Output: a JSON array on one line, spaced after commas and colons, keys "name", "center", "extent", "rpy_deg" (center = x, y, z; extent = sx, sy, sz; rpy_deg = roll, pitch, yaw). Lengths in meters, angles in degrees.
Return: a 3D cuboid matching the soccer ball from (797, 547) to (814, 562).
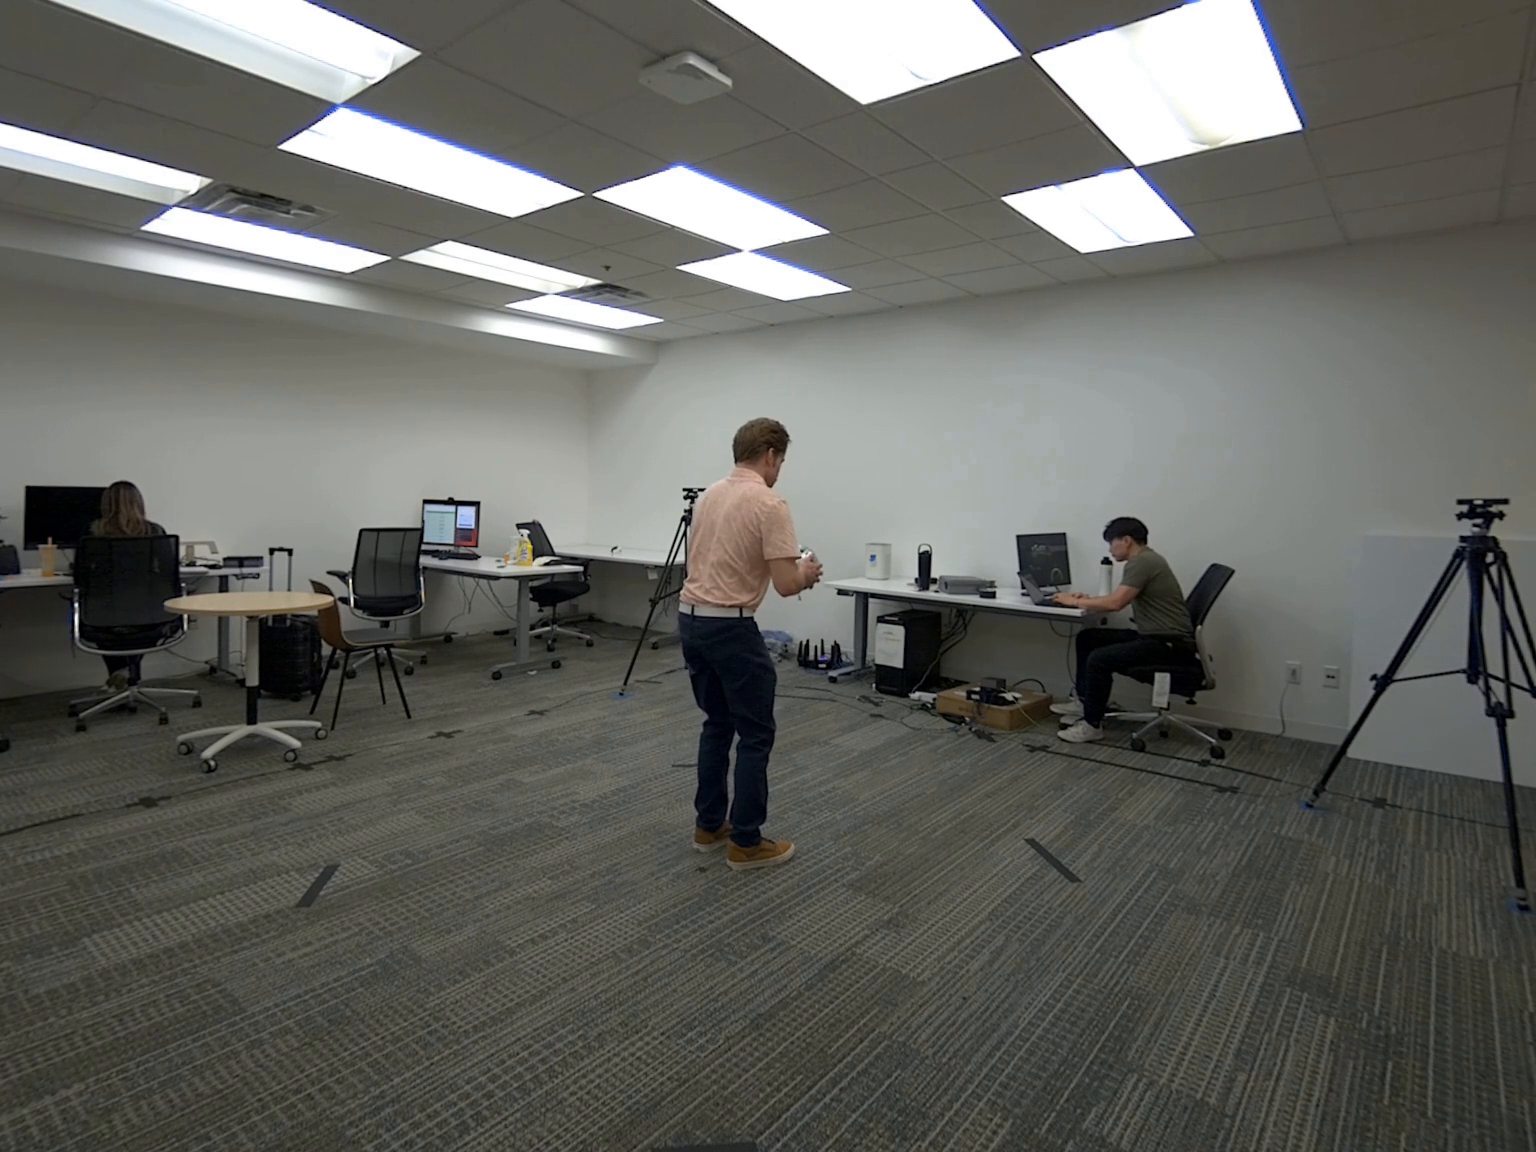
[{"name": "soccer ball", "center": [0.110, -0.019, 3.405], "extent": [0.187, 0.187, 0.188], "rpy_deg": [1, 4, -2]}]
